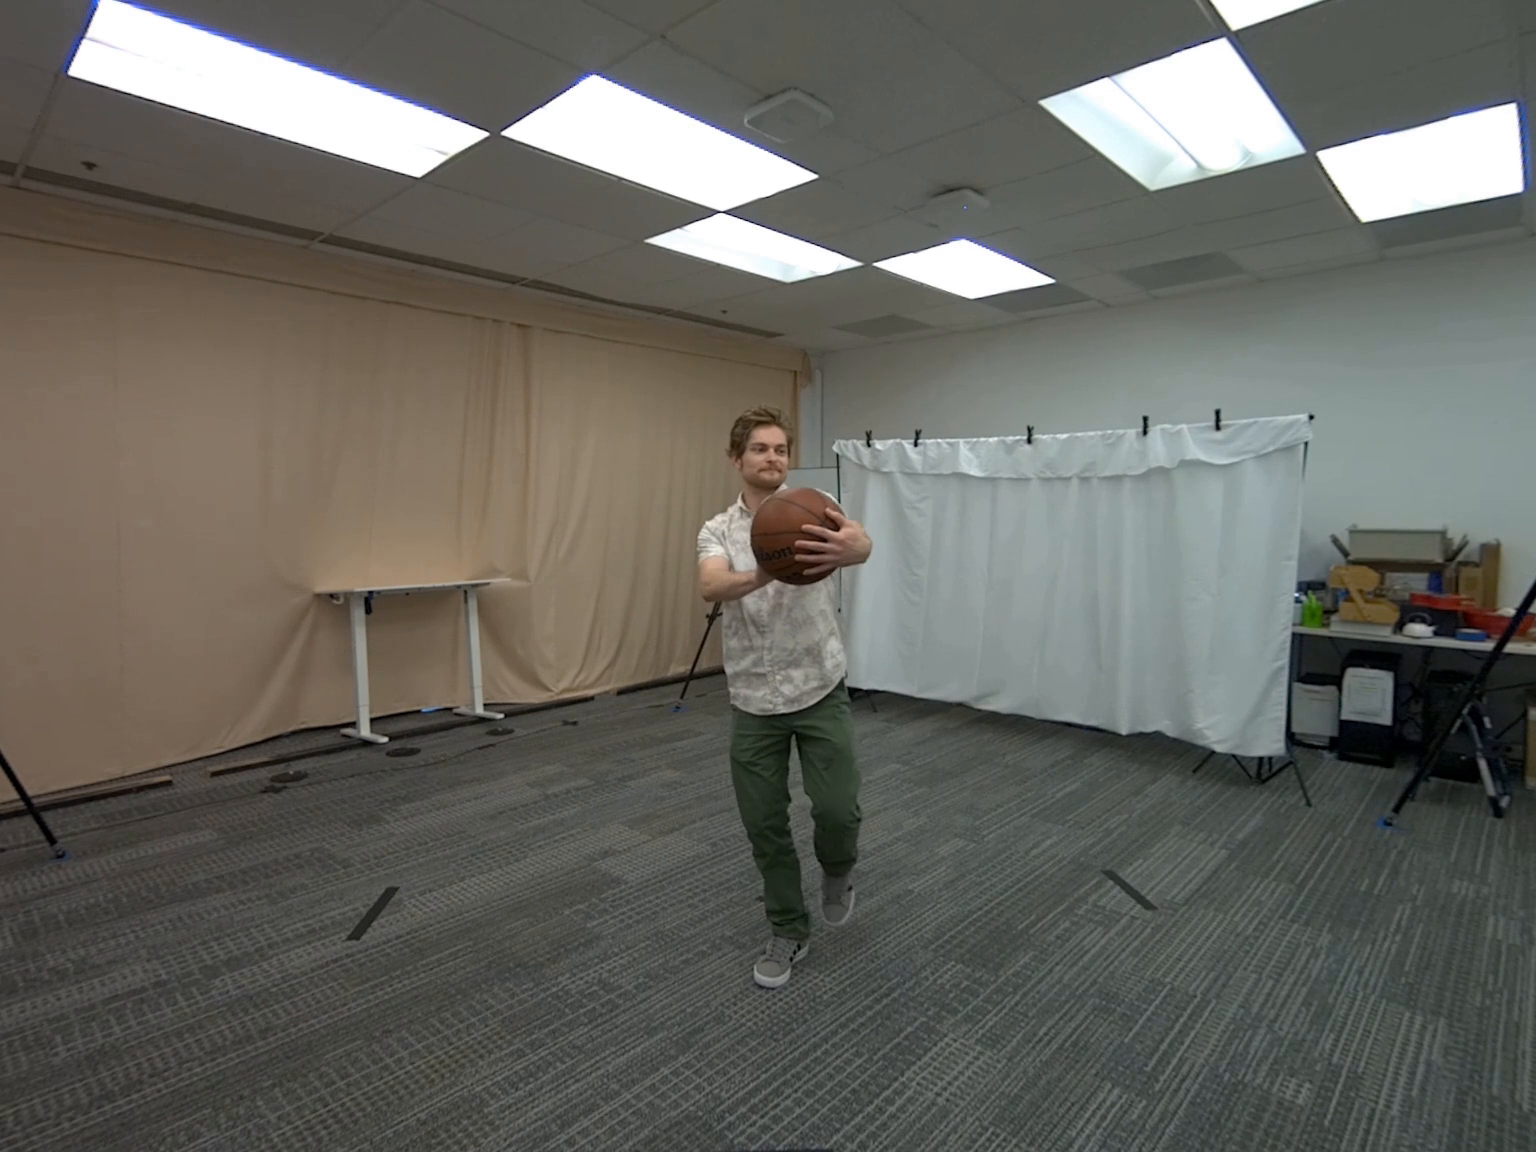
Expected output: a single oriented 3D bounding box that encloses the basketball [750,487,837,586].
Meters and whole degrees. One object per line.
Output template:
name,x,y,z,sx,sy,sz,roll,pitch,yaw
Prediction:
basketball,0.076,-0.097,2.035,0.236,0.235,0.237,0,4,-2
